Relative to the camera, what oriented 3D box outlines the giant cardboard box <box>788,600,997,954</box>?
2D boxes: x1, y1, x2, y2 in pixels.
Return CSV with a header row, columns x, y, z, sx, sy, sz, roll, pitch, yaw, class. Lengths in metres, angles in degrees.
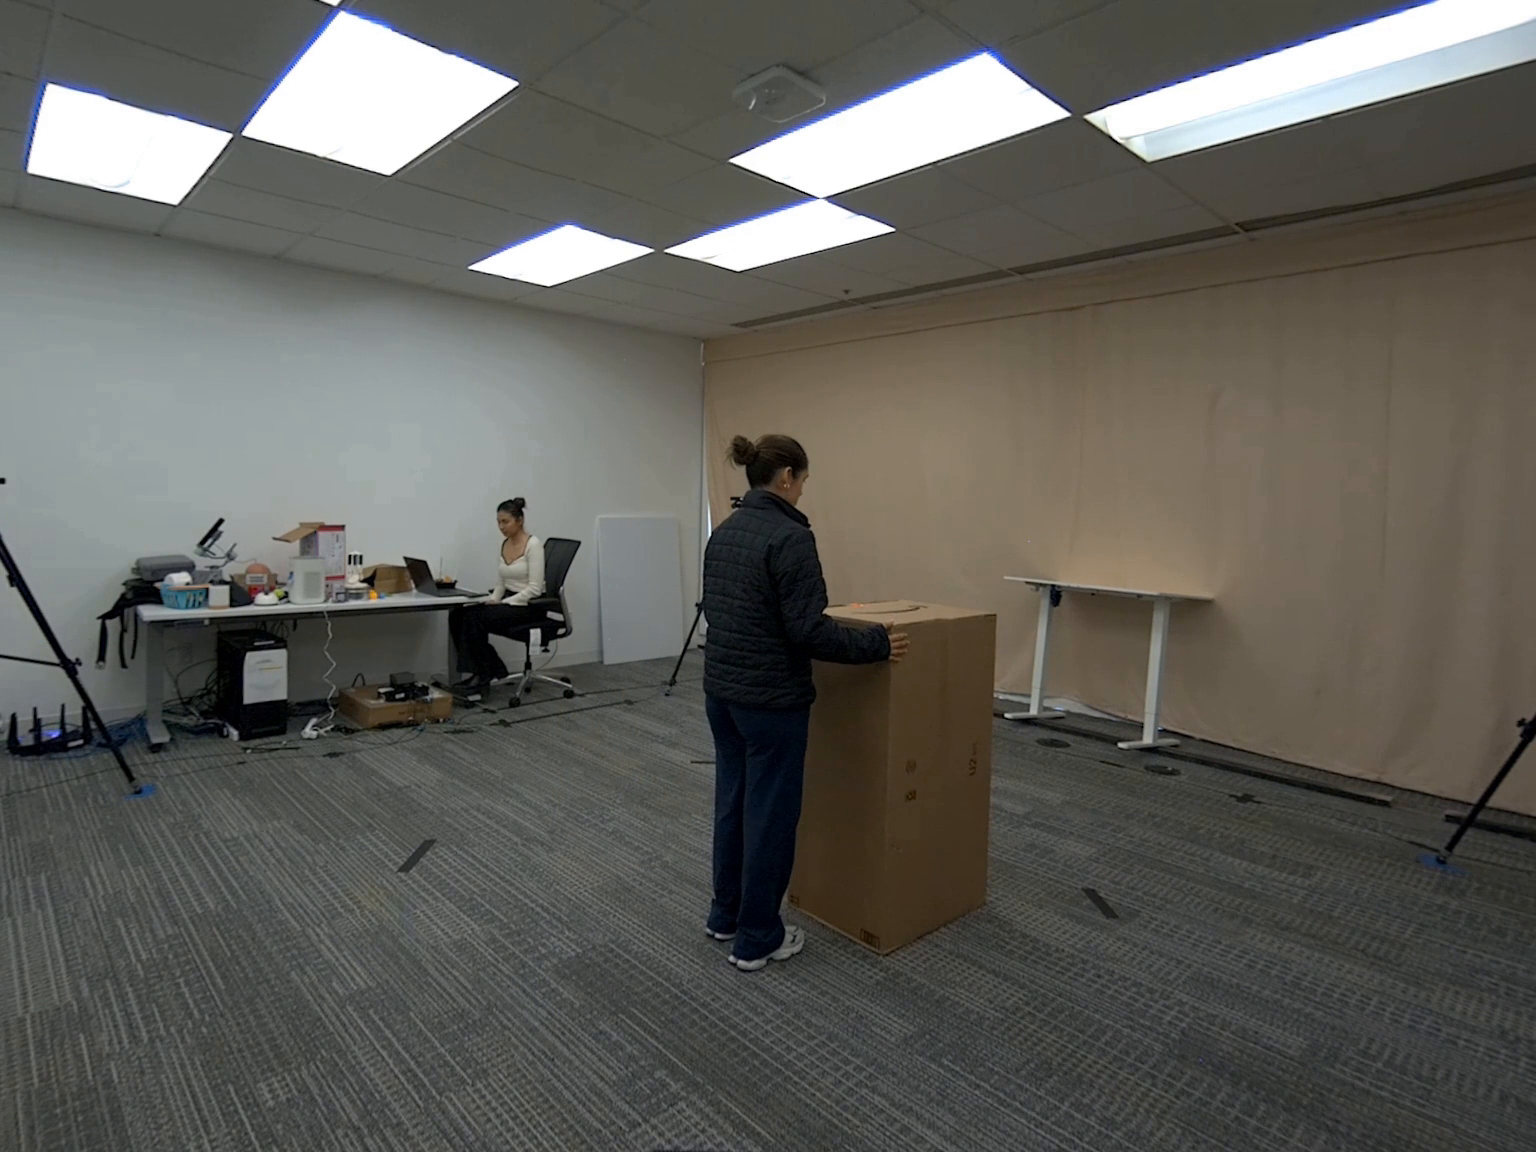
x,y,z,sx,sy,sz,roll,pitch,yaw,class
0.426,0.633,2.886,0.564,1.023,0.437,-2,5,-42,giant cardboard box
